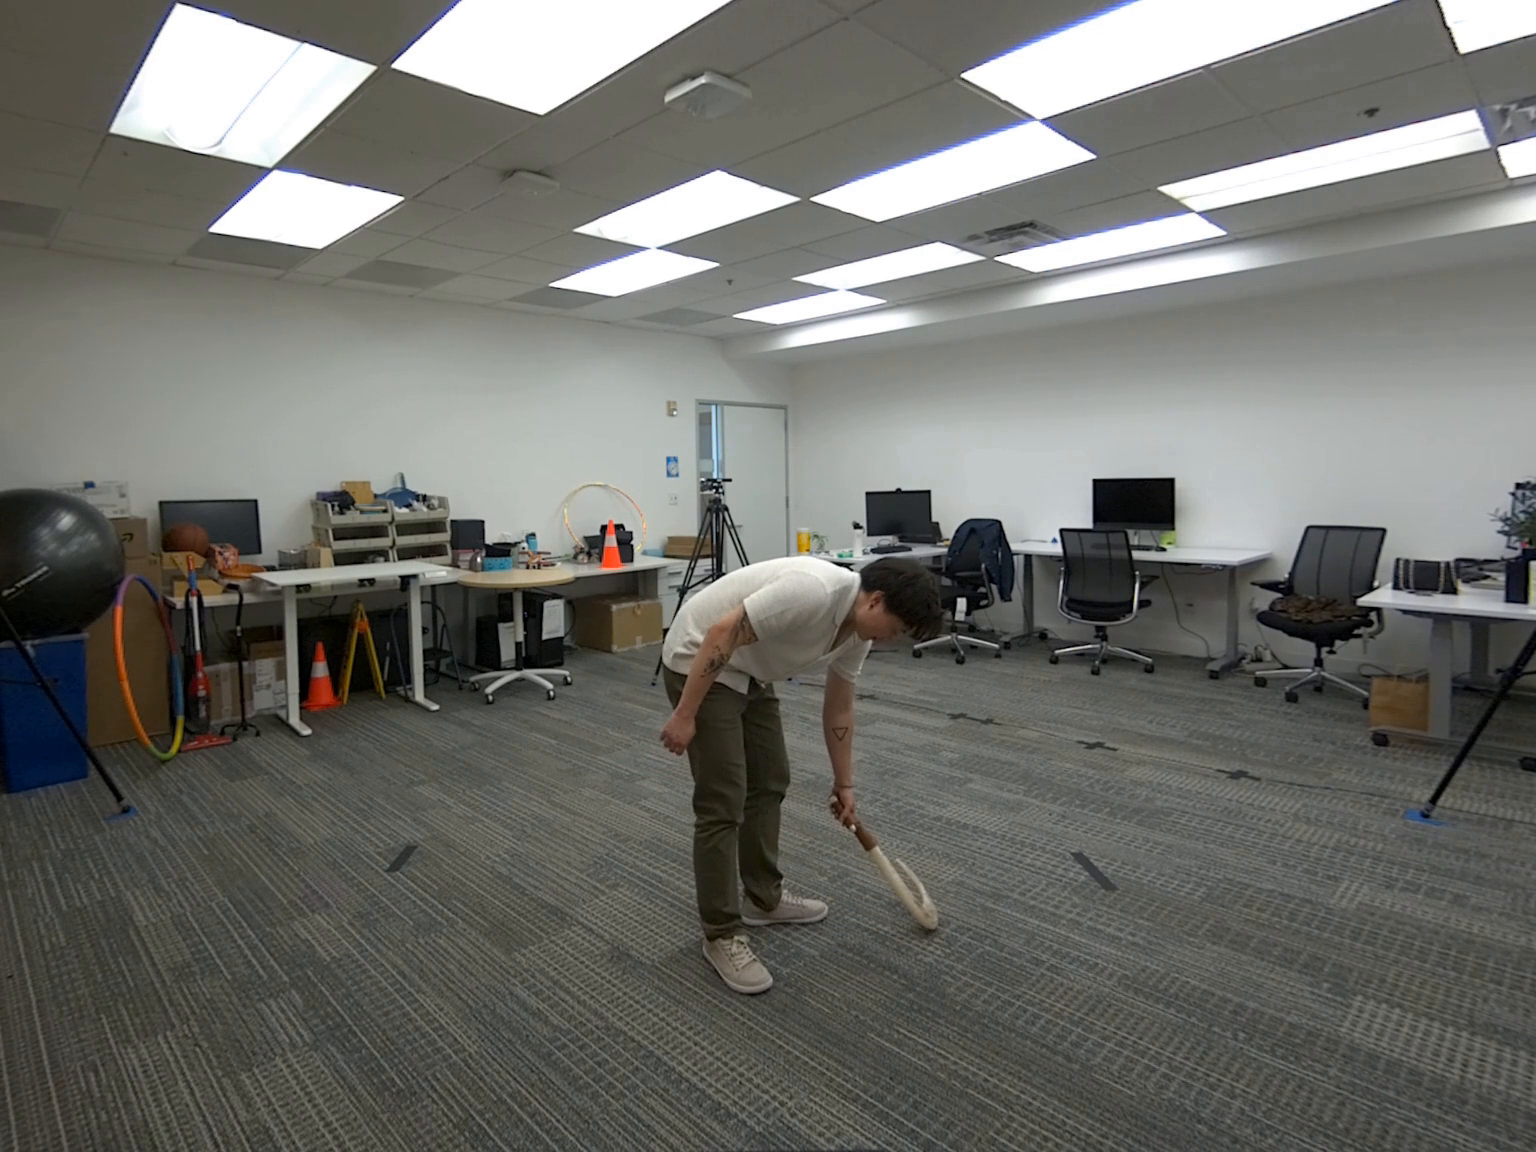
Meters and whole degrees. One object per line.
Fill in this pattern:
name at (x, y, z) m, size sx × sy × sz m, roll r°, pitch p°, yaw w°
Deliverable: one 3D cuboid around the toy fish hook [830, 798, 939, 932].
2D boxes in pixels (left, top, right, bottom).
toy fish hook at (0.365, 0.883, 2.706) m, size 0.048 × 0.510 × 0.223 m, roll -41°, pitch -5°, yaw 8°
